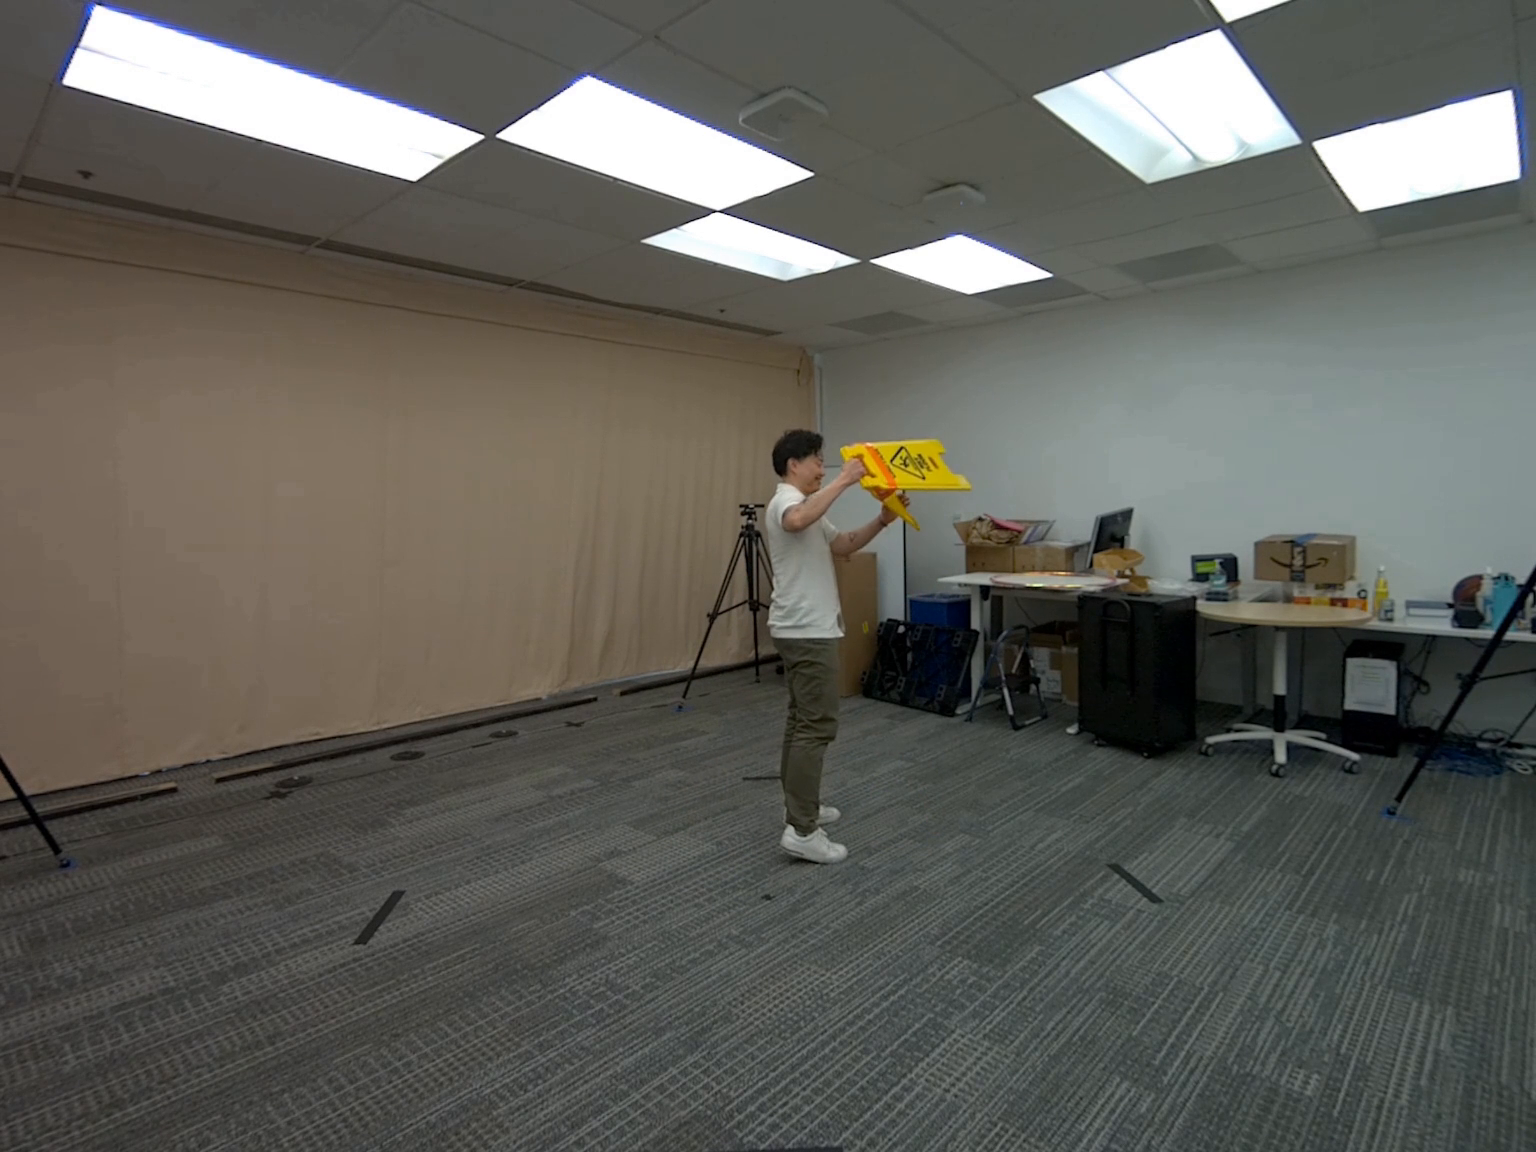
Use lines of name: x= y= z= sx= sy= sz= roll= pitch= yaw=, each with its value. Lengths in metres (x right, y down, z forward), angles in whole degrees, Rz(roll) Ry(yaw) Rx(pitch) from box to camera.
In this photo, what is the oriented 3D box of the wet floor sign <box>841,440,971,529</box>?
wet floor sign: x=0.514 y=-0.395 z=3.452 sx=0.625 sy=0.289 sz=0.292 roll=4 pitch=-39 yaw=-50
